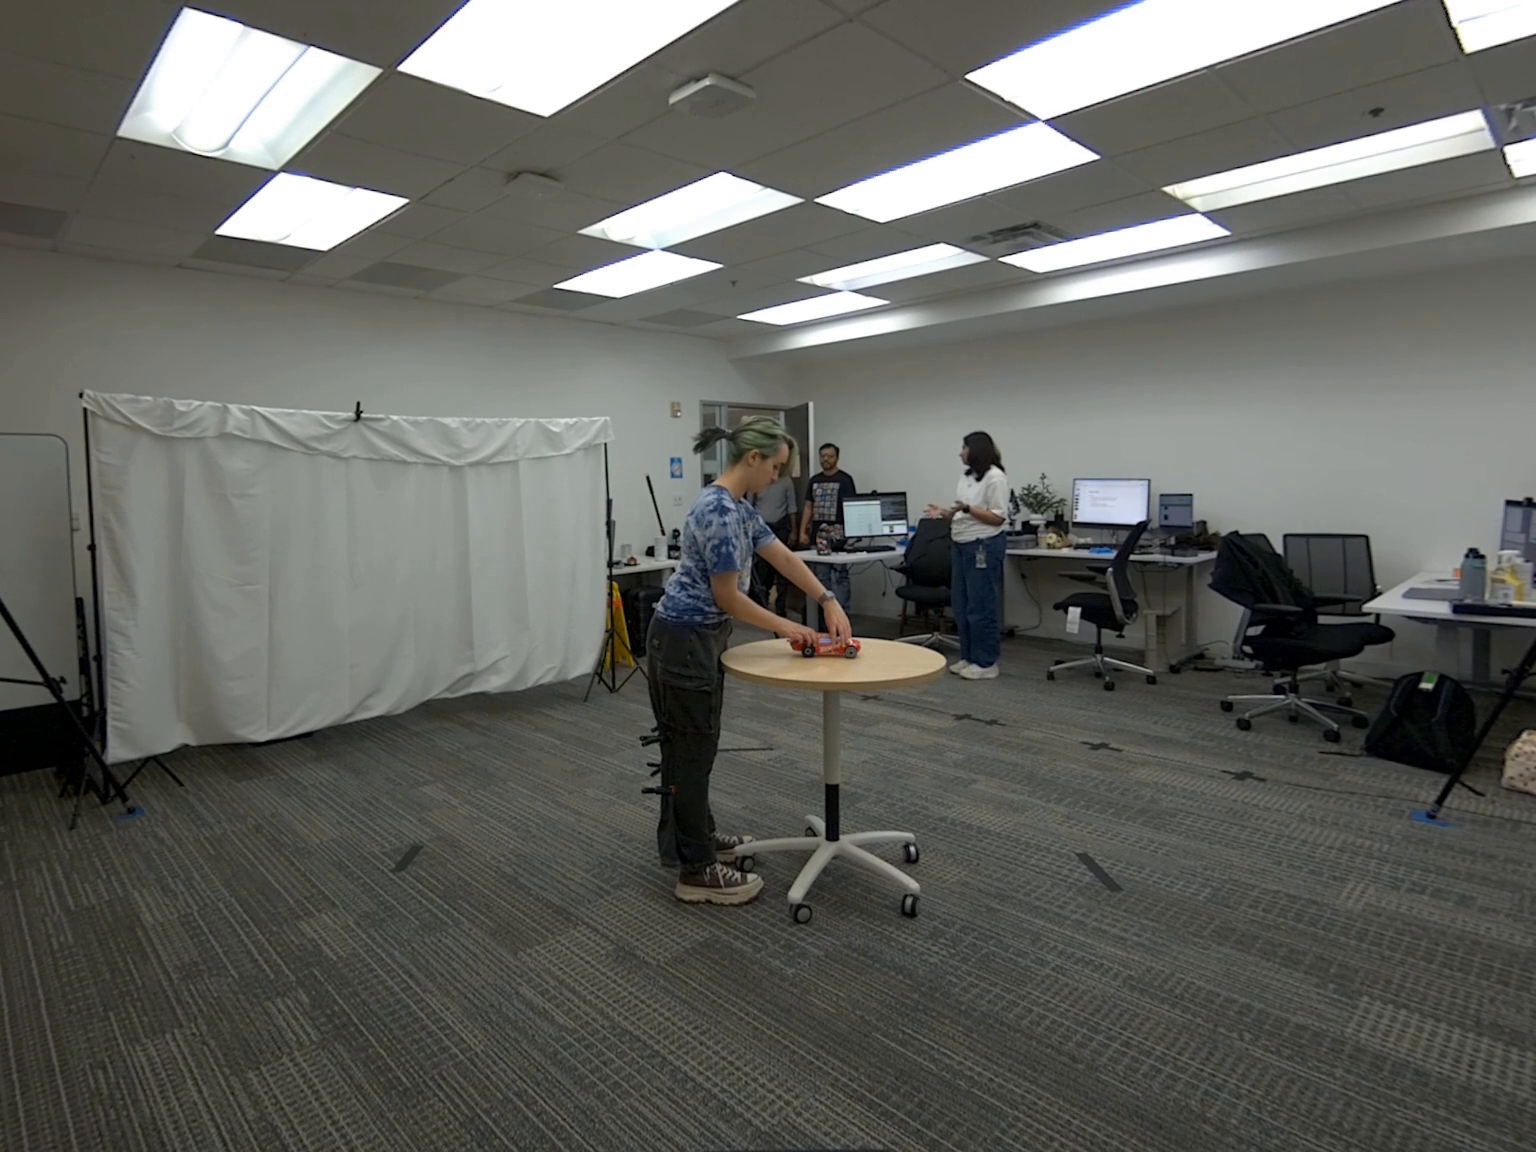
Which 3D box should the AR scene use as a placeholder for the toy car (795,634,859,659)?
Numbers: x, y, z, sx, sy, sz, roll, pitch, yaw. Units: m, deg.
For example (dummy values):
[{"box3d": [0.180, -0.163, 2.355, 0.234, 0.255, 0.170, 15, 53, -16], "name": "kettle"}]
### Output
[{"box3d": [0.189, 0.242, 2.955, 0.256, 0.083, 0.130, 12, 6, 6], "name": "toy car"}]
